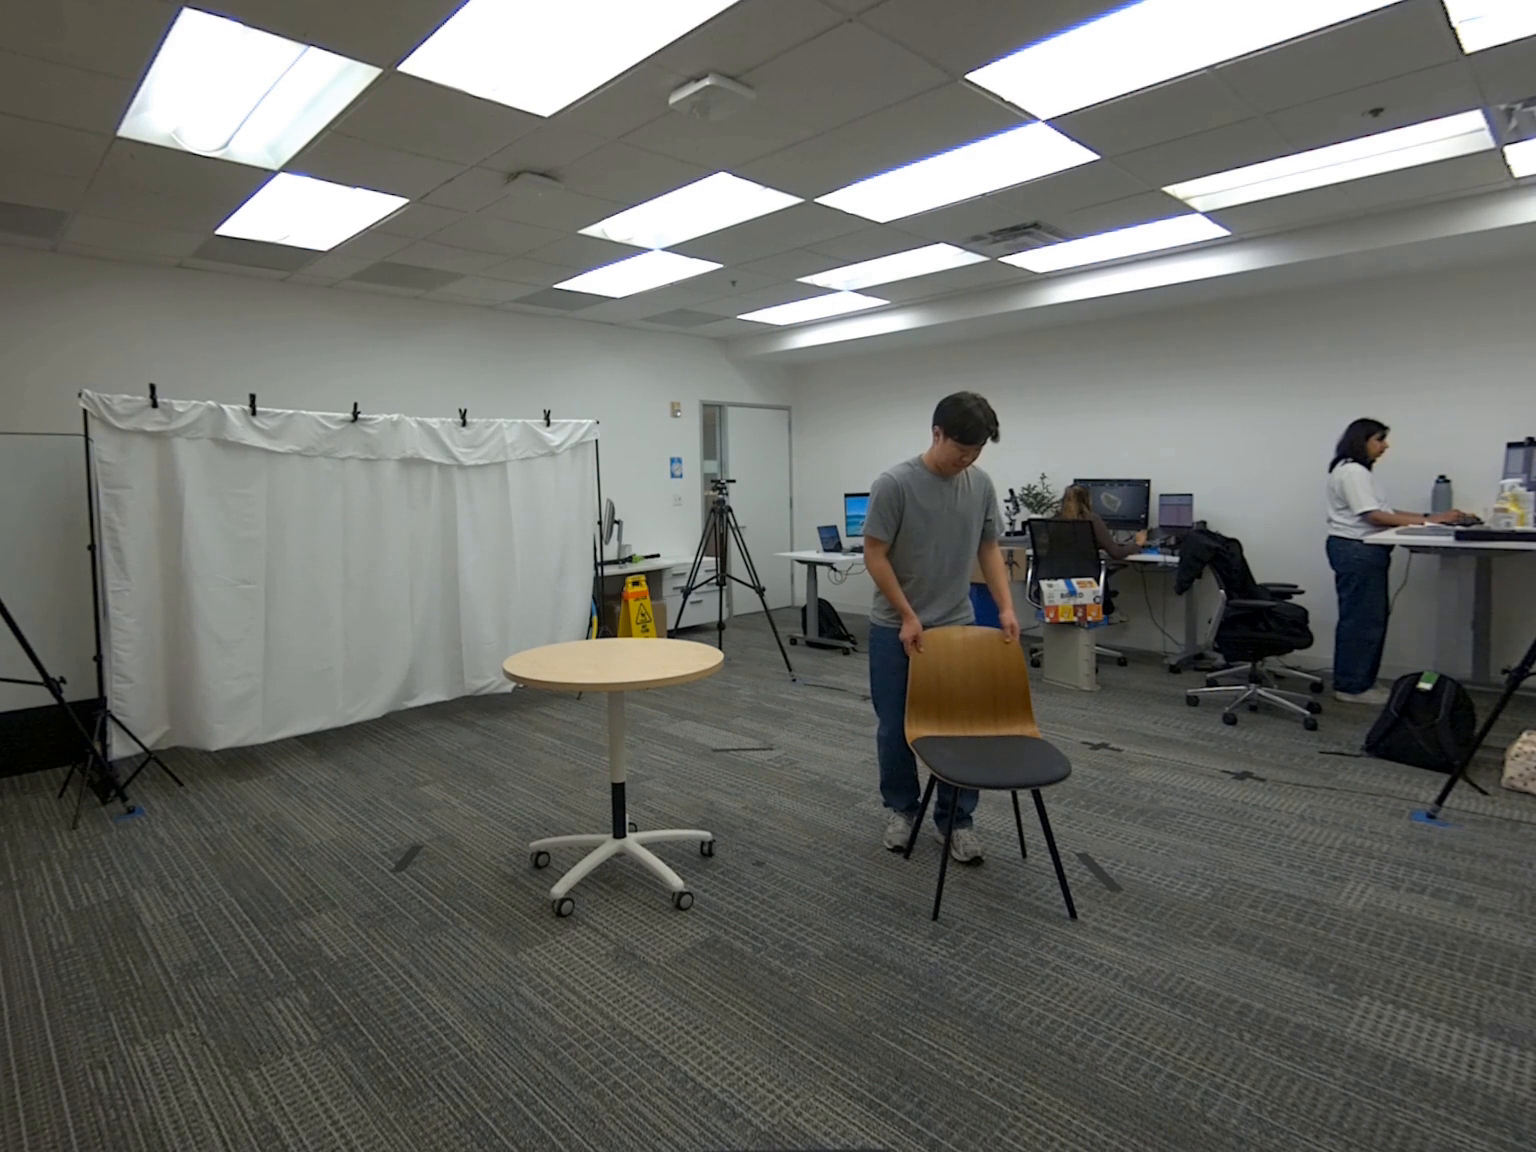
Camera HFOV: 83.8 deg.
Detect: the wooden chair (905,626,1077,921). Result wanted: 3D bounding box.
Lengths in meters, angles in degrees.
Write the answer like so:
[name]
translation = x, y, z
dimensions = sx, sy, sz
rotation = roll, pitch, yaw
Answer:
[wooden chair]
translation = 0.717, 0.631, 2.859
dimensions = 0.478, 0.877, 0.523
rotation = 0, 0, -1
